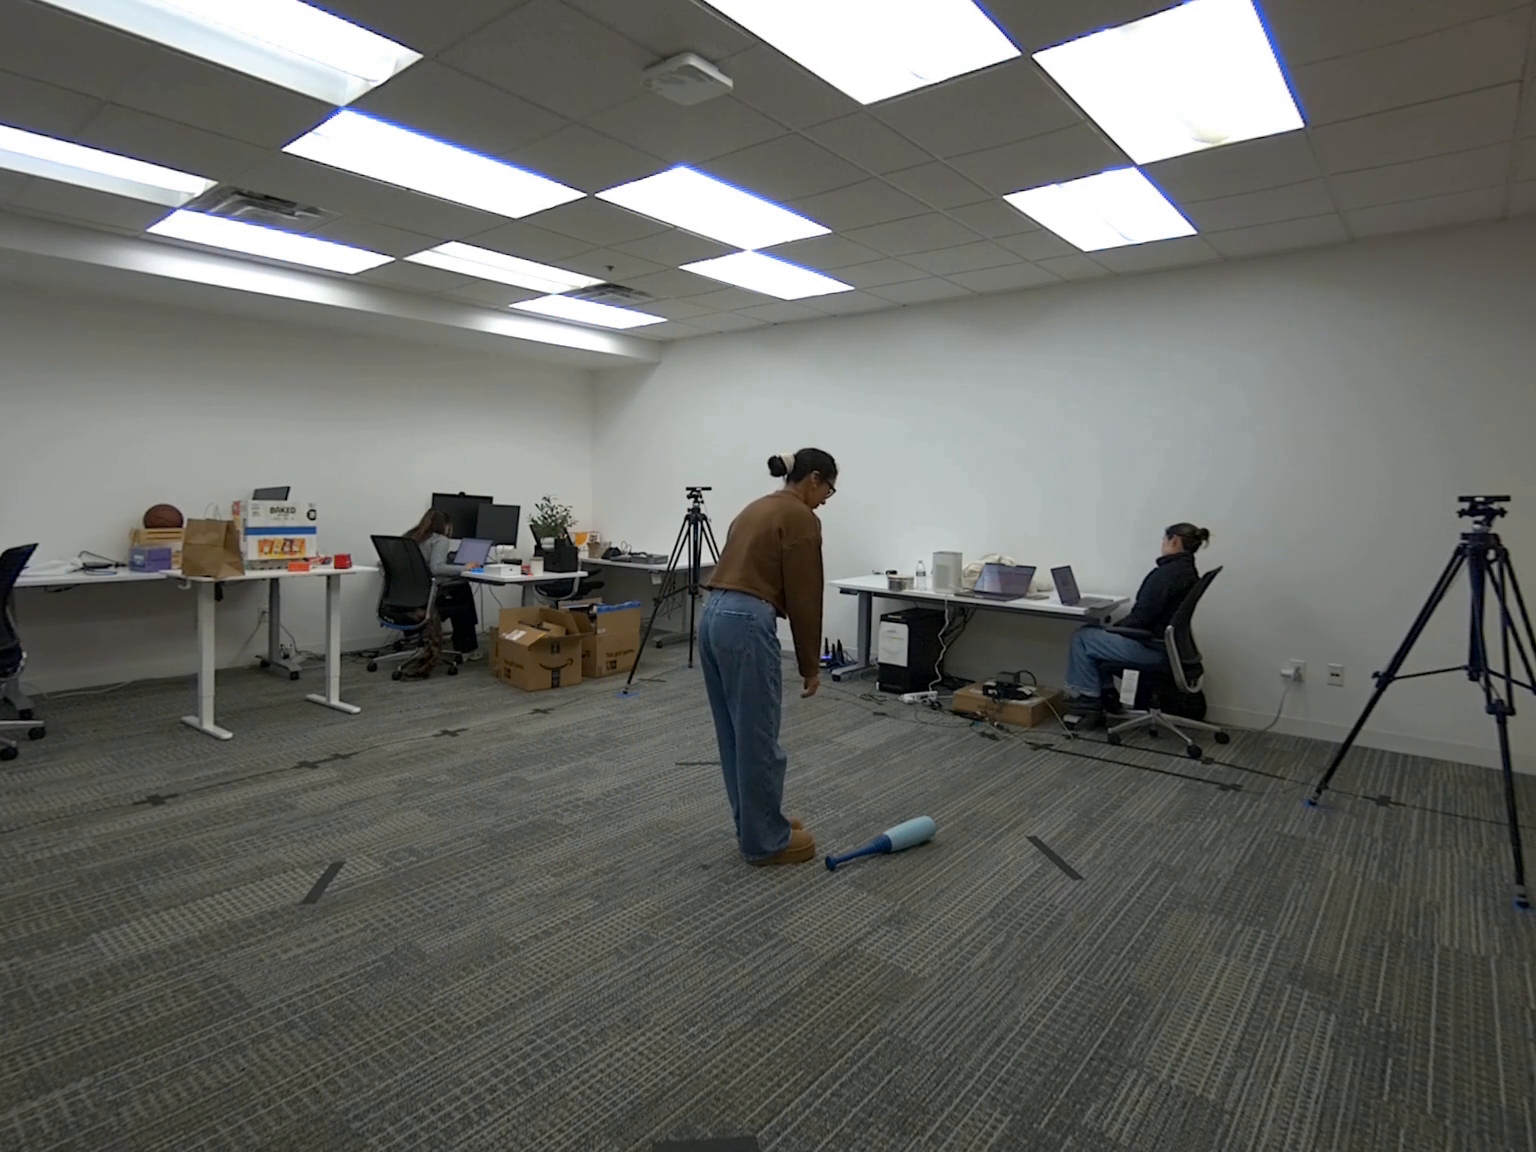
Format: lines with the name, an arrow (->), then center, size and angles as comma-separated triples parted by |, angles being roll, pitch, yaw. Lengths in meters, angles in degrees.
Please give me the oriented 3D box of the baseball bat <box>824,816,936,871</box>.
baseball bat -> 0.430, 1.035, 3.262 | 0.529, 0.088, 0.092 | -8, 8, -34
